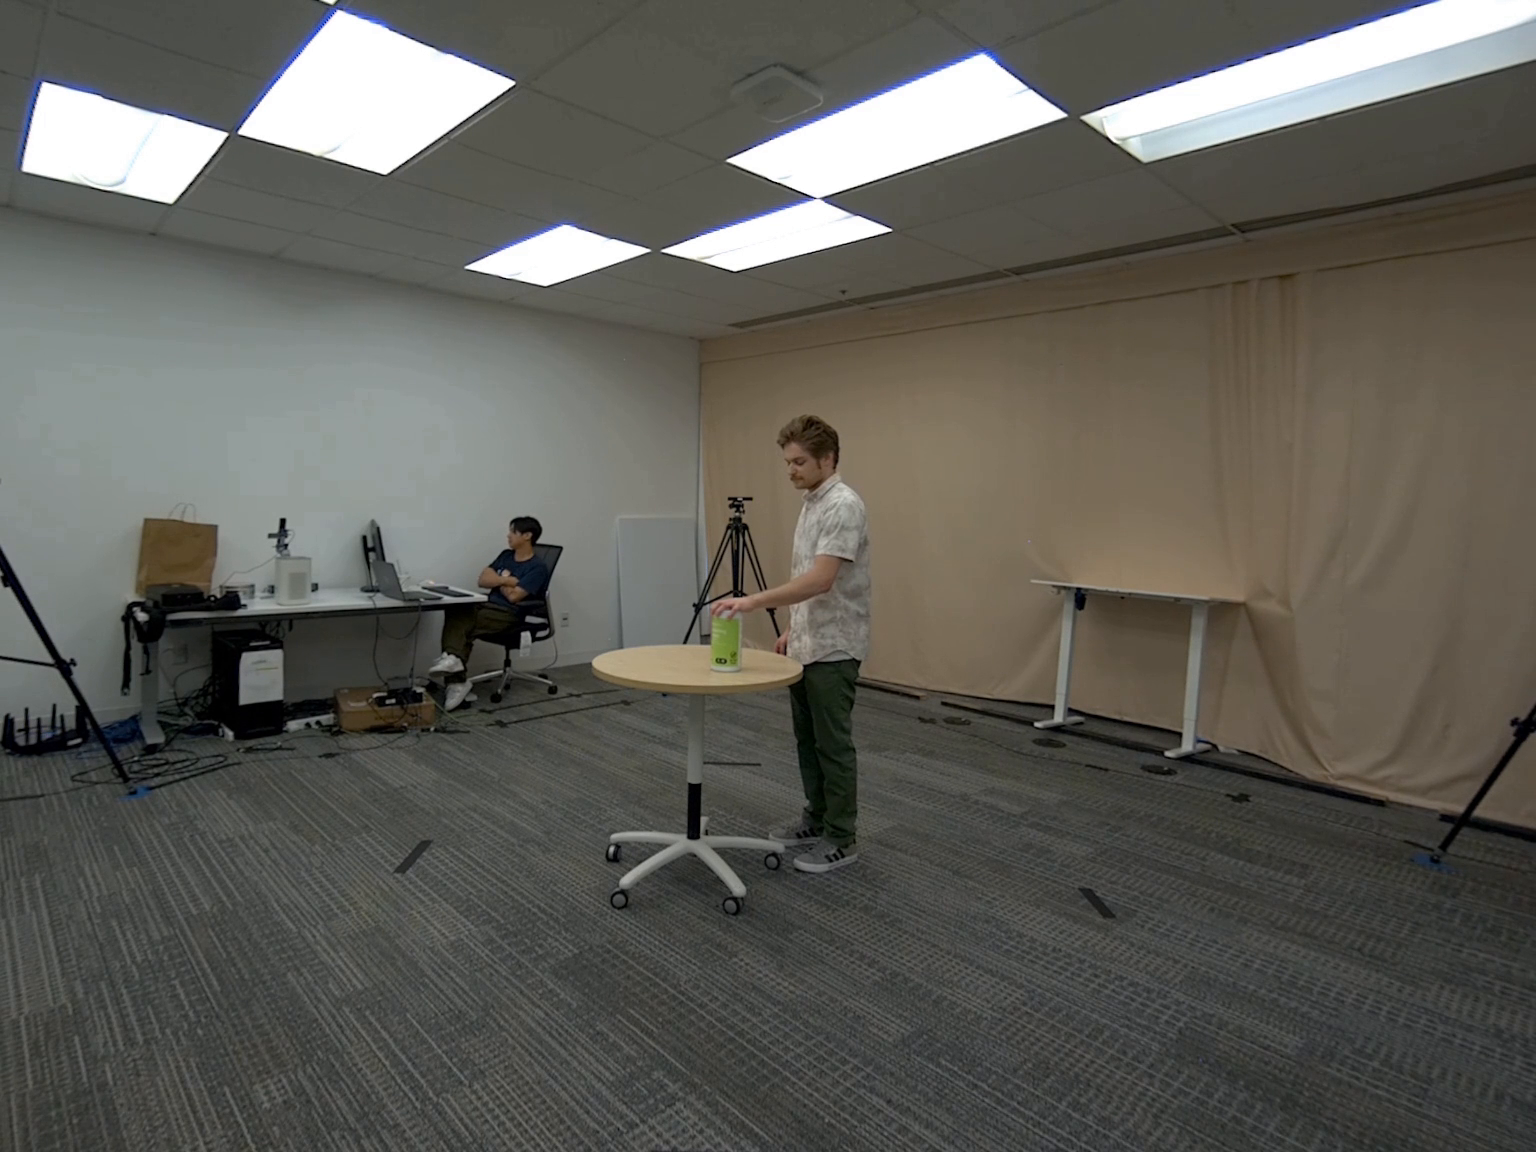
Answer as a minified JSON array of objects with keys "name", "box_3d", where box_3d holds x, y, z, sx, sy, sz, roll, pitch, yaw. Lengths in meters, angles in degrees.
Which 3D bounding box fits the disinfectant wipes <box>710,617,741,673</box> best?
[{"name":"disinfectant wipes","box_3d":[-0.150,0.225,2.955,0.118,0.216,0.118,2,5,-2]}]
